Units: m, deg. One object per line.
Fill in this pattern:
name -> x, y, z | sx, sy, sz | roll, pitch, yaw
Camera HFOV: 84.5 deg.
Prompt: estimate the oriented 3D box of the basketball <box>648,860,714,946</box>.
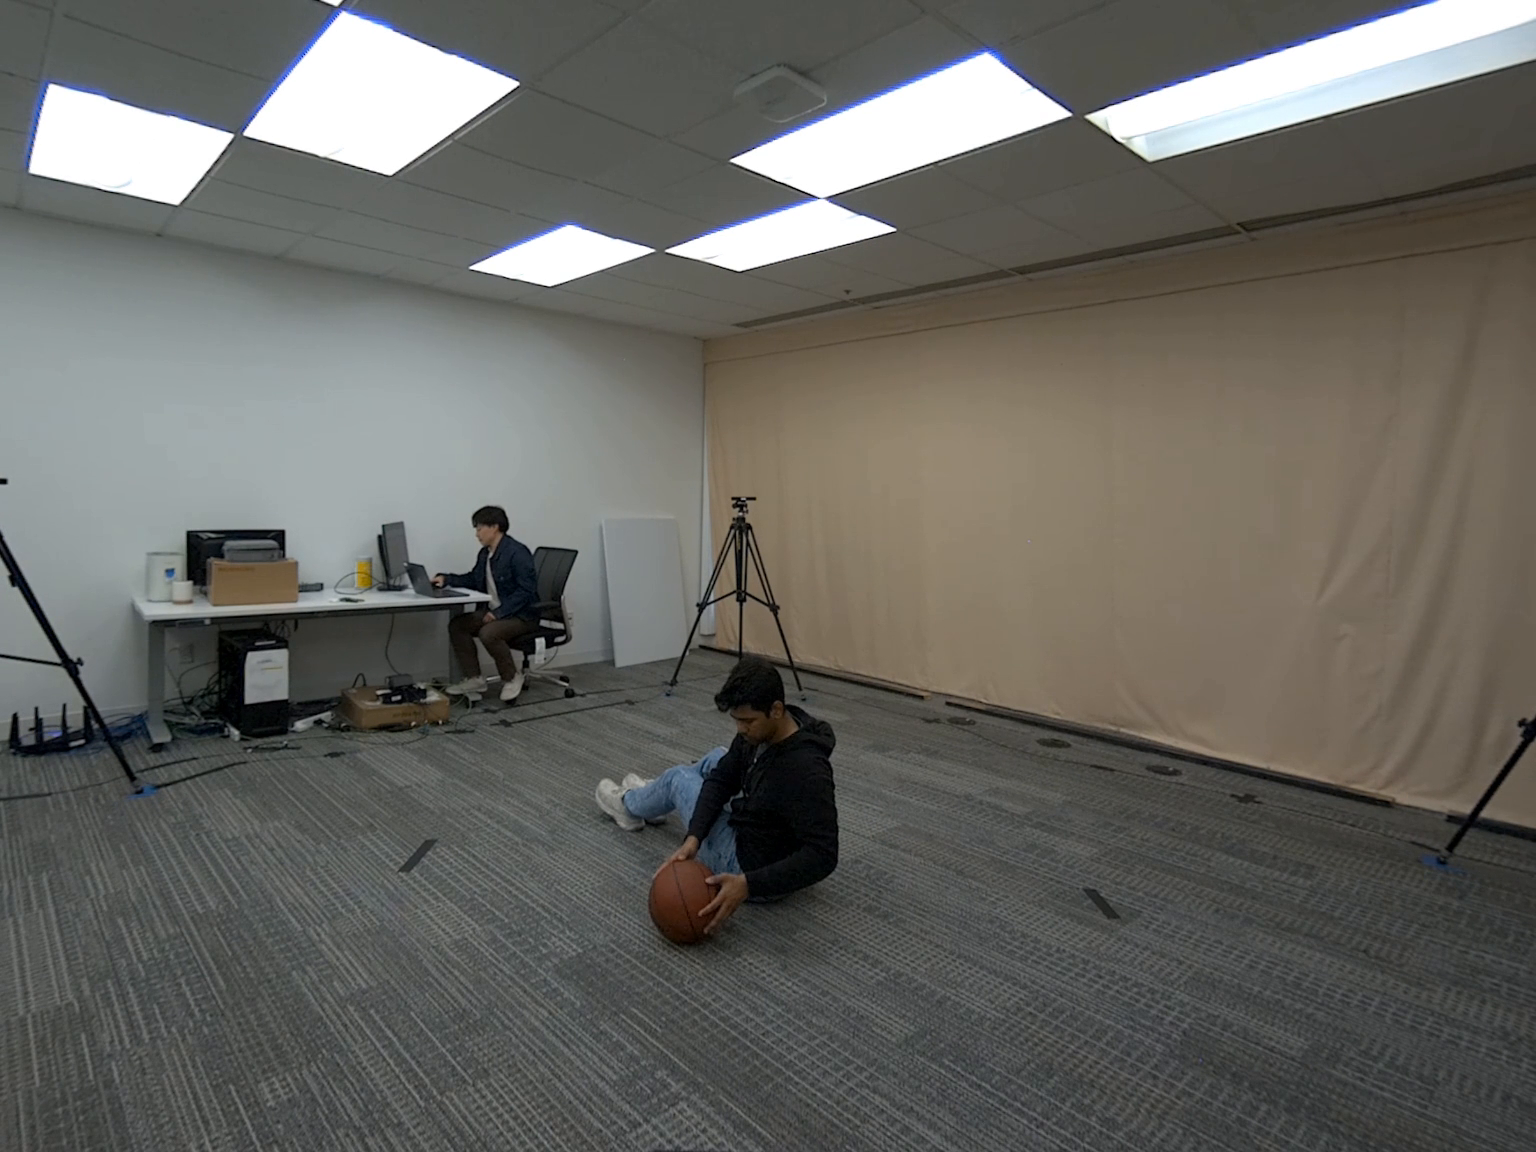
basketball -> -0.263, 1.019, 2.653 | 0.236, 0.235, 0.237 | 1, 4, -1
